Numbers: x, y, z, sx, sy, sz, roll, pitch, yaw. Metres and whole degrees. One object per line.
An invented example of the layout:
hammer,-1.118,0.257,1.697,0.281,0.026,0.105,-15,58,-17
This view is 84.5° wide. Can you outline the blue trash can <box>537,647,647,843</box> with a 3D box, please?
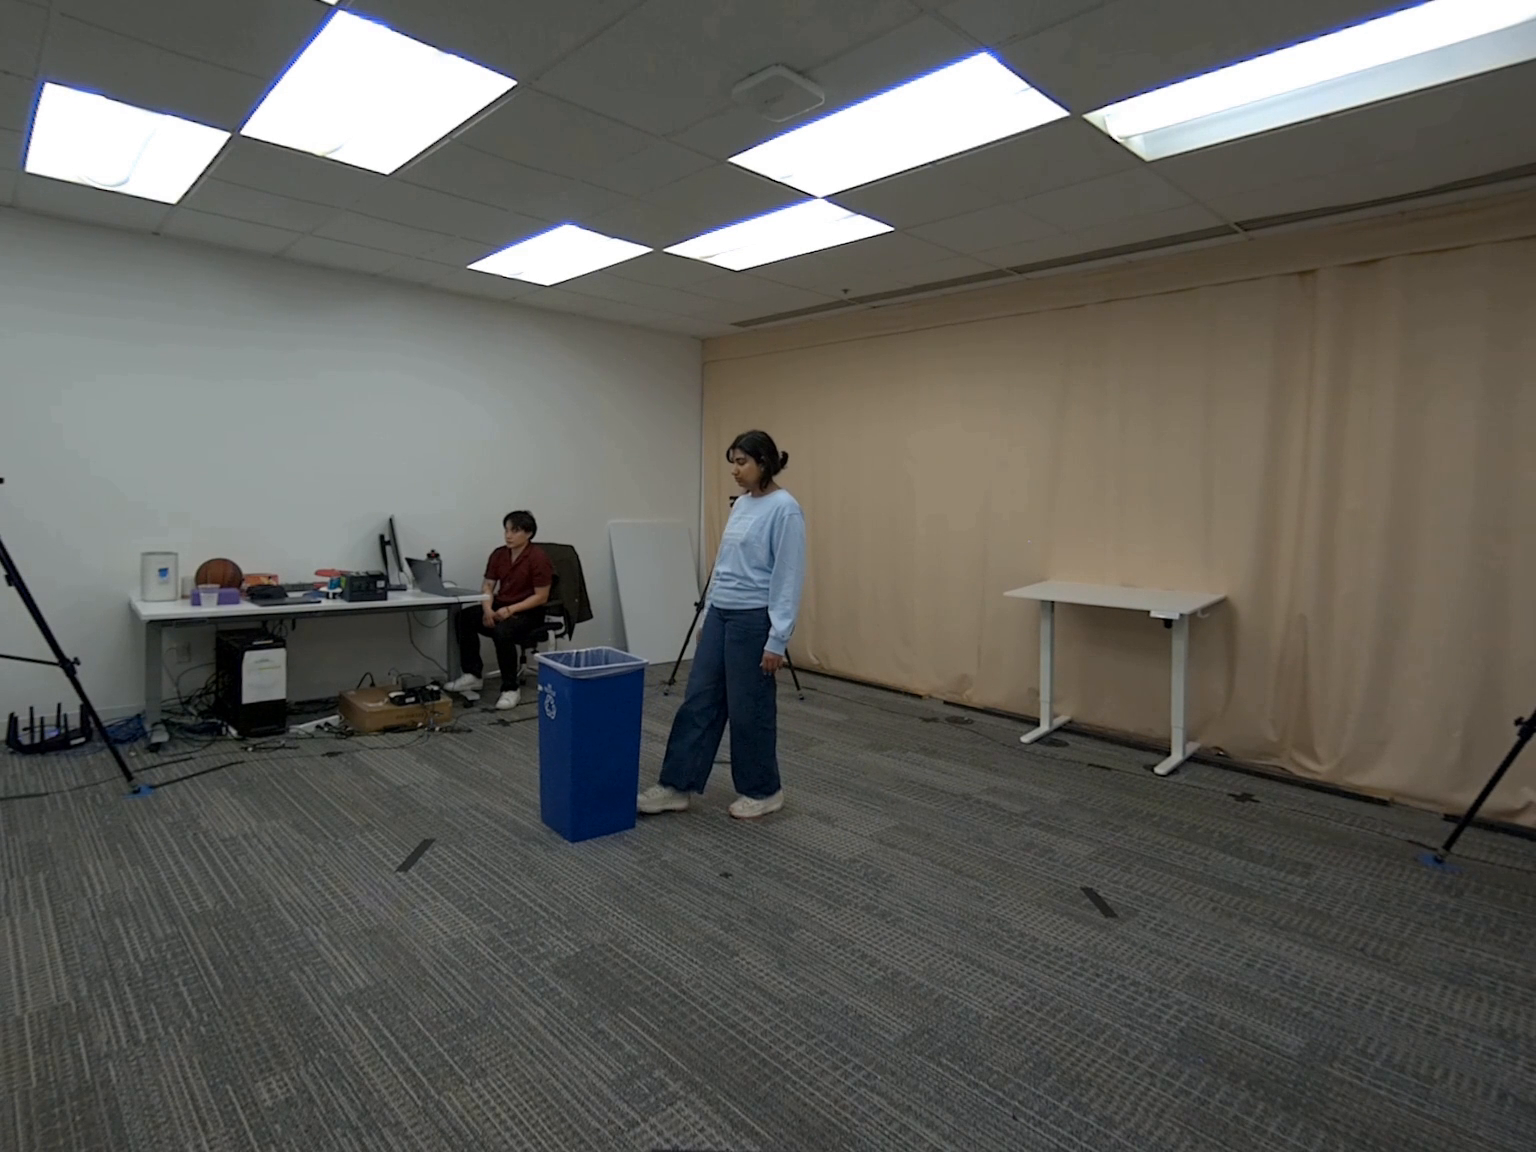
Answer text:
blue trash can,-0.759,0.695,3.532,0.365,0.711,0.388,-1,5,-40
